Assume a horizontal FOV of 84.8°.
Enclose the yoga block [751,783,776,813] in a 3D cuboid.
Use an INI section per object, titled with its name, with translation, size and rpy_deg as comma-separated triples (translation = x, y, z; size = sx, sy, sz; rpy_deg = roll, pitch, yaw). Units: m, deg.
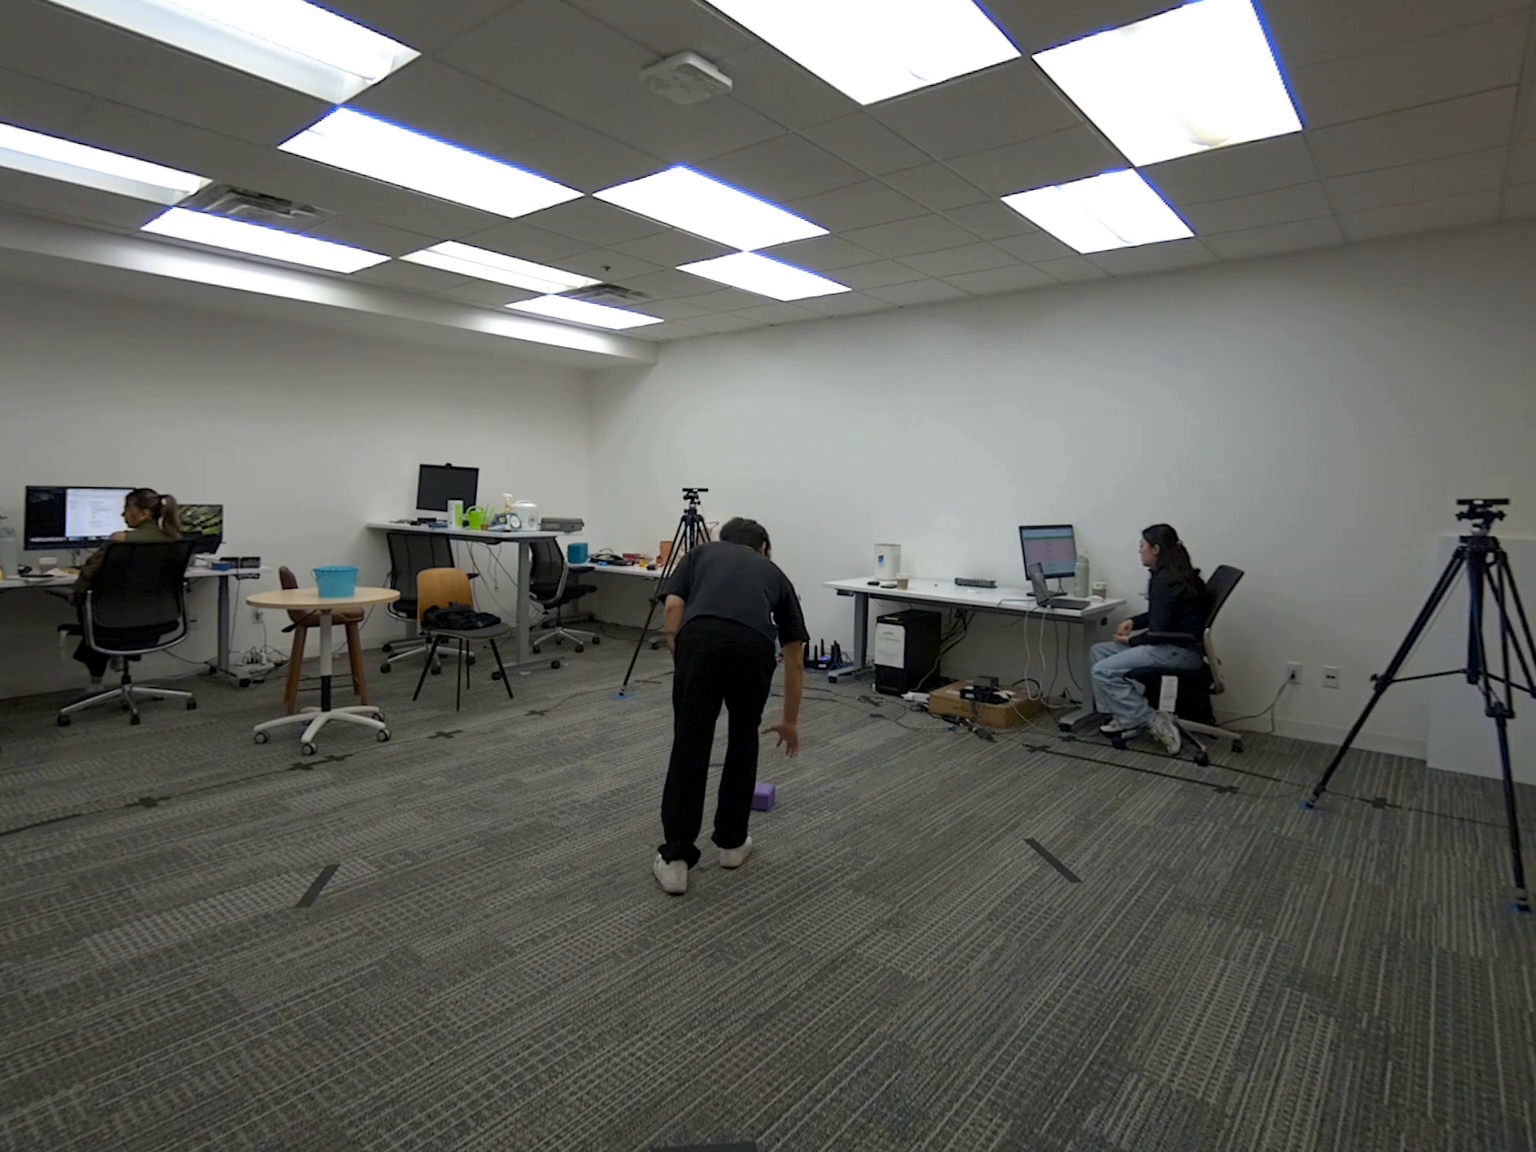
[yoga block]
translation = -0.105, 0.966, 3.778
size = 0.233, 0.076, 0.147
rpy_deg = 3, 6, 15
